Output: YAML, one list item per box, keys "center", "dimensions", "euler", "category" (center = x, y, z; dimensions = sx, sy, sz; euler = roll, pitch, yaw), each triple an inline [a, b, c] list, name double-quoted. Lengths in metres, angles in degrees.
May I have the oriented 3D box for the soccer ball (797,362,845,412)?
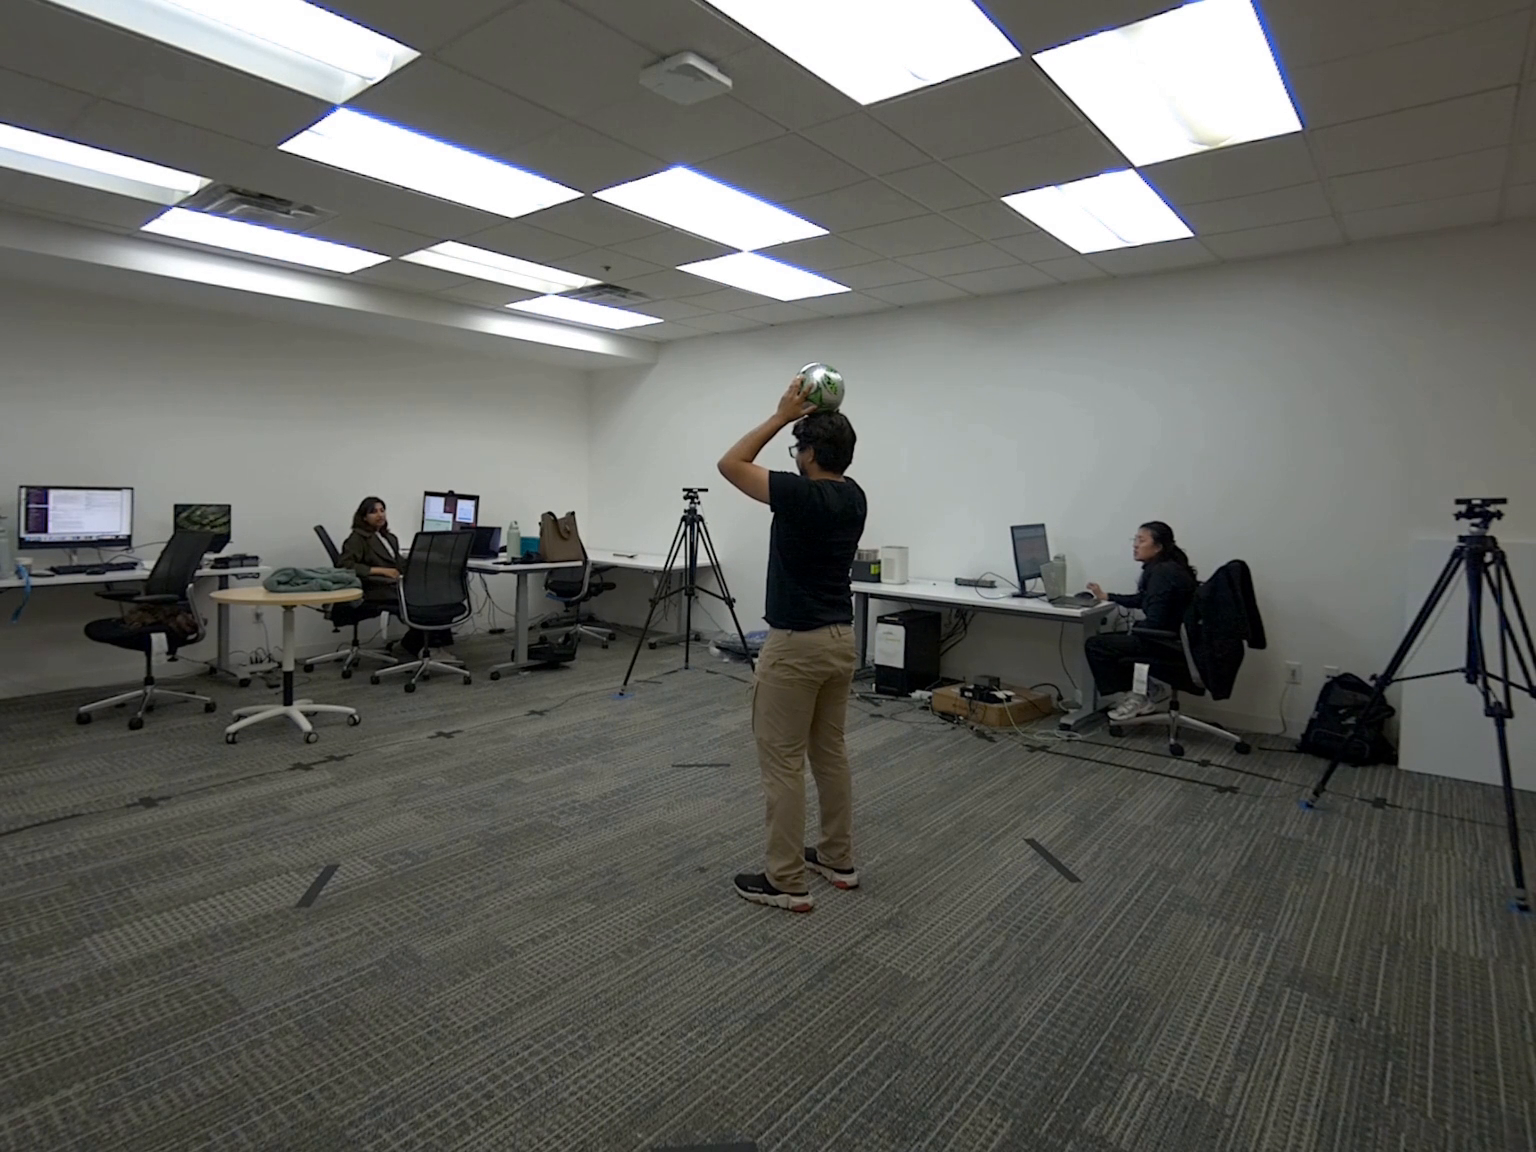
- center: [0.167, -0.651, 2.976]
  dimensions: [0.187, 0.187, 0.188]
  euler: [1, 4, -2]
  category: "soccer ball"
